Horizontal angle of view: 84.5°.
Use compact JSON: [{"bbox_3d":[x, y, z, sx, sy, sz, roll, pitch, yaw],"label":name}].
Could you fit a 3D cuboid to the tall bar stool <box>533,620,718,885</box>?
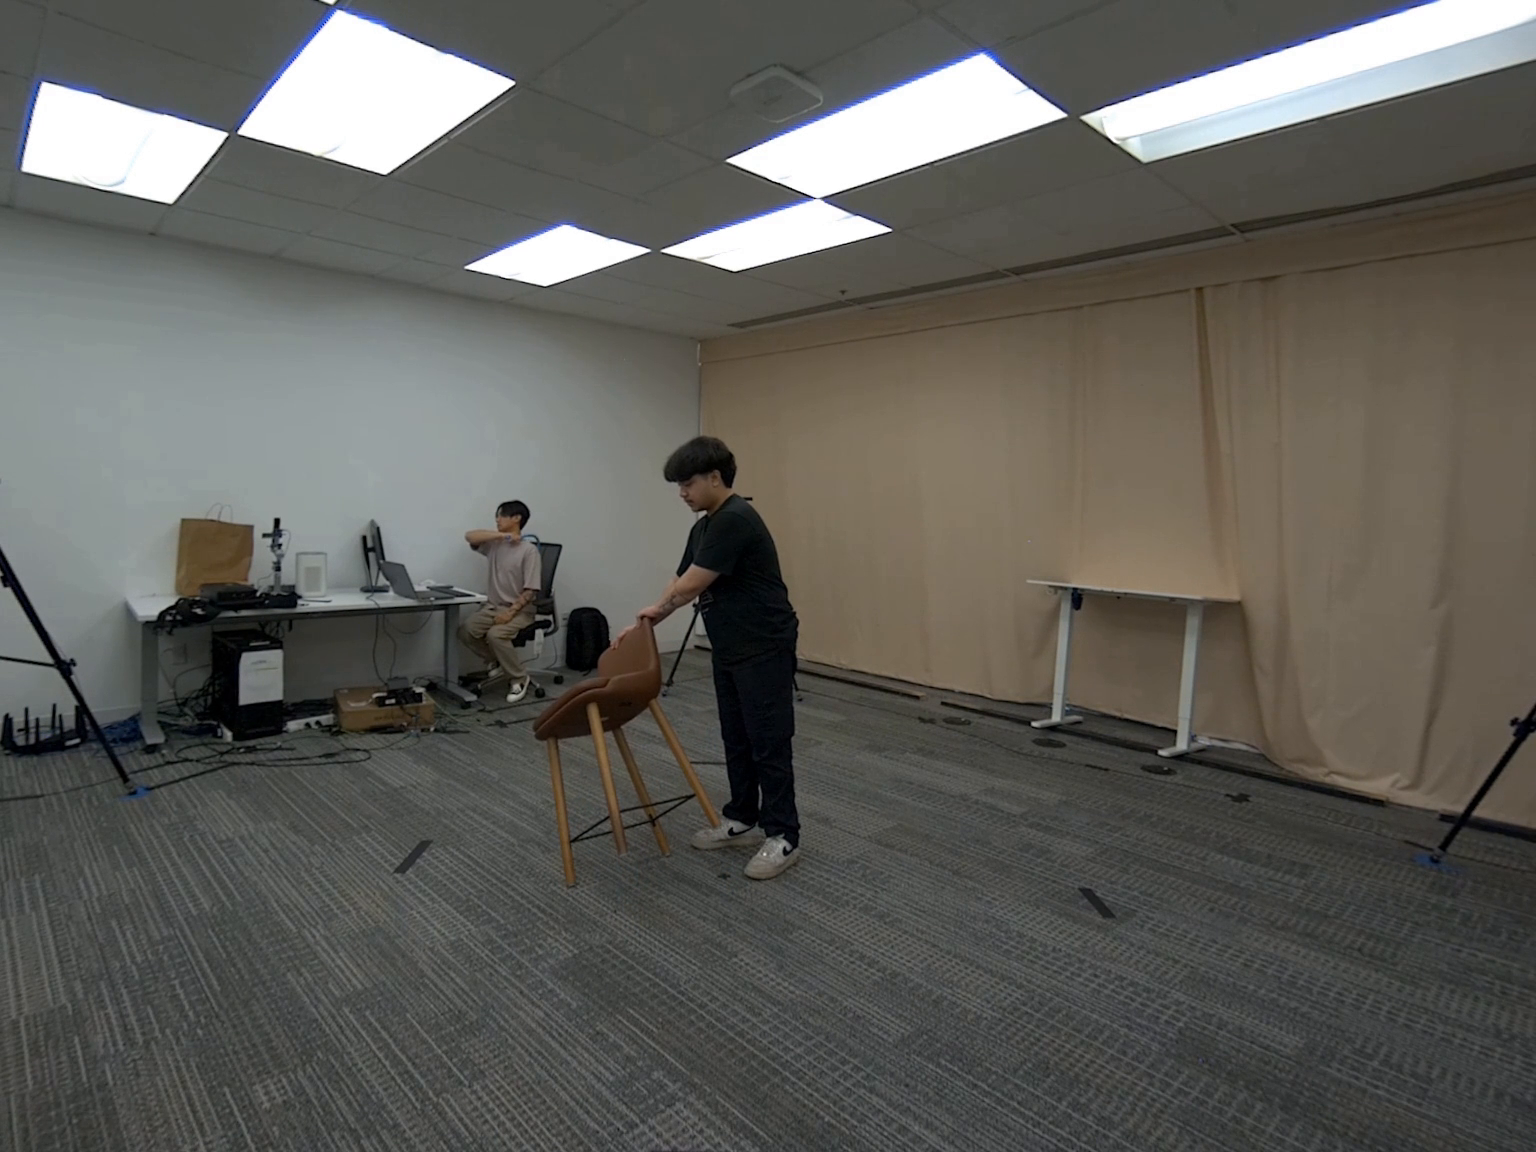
[{"bbox_3d":[-0.597,0.623,3.185,0.456,0.909,0.458,2,-32,-42],"label":"tall bar stool"}]
